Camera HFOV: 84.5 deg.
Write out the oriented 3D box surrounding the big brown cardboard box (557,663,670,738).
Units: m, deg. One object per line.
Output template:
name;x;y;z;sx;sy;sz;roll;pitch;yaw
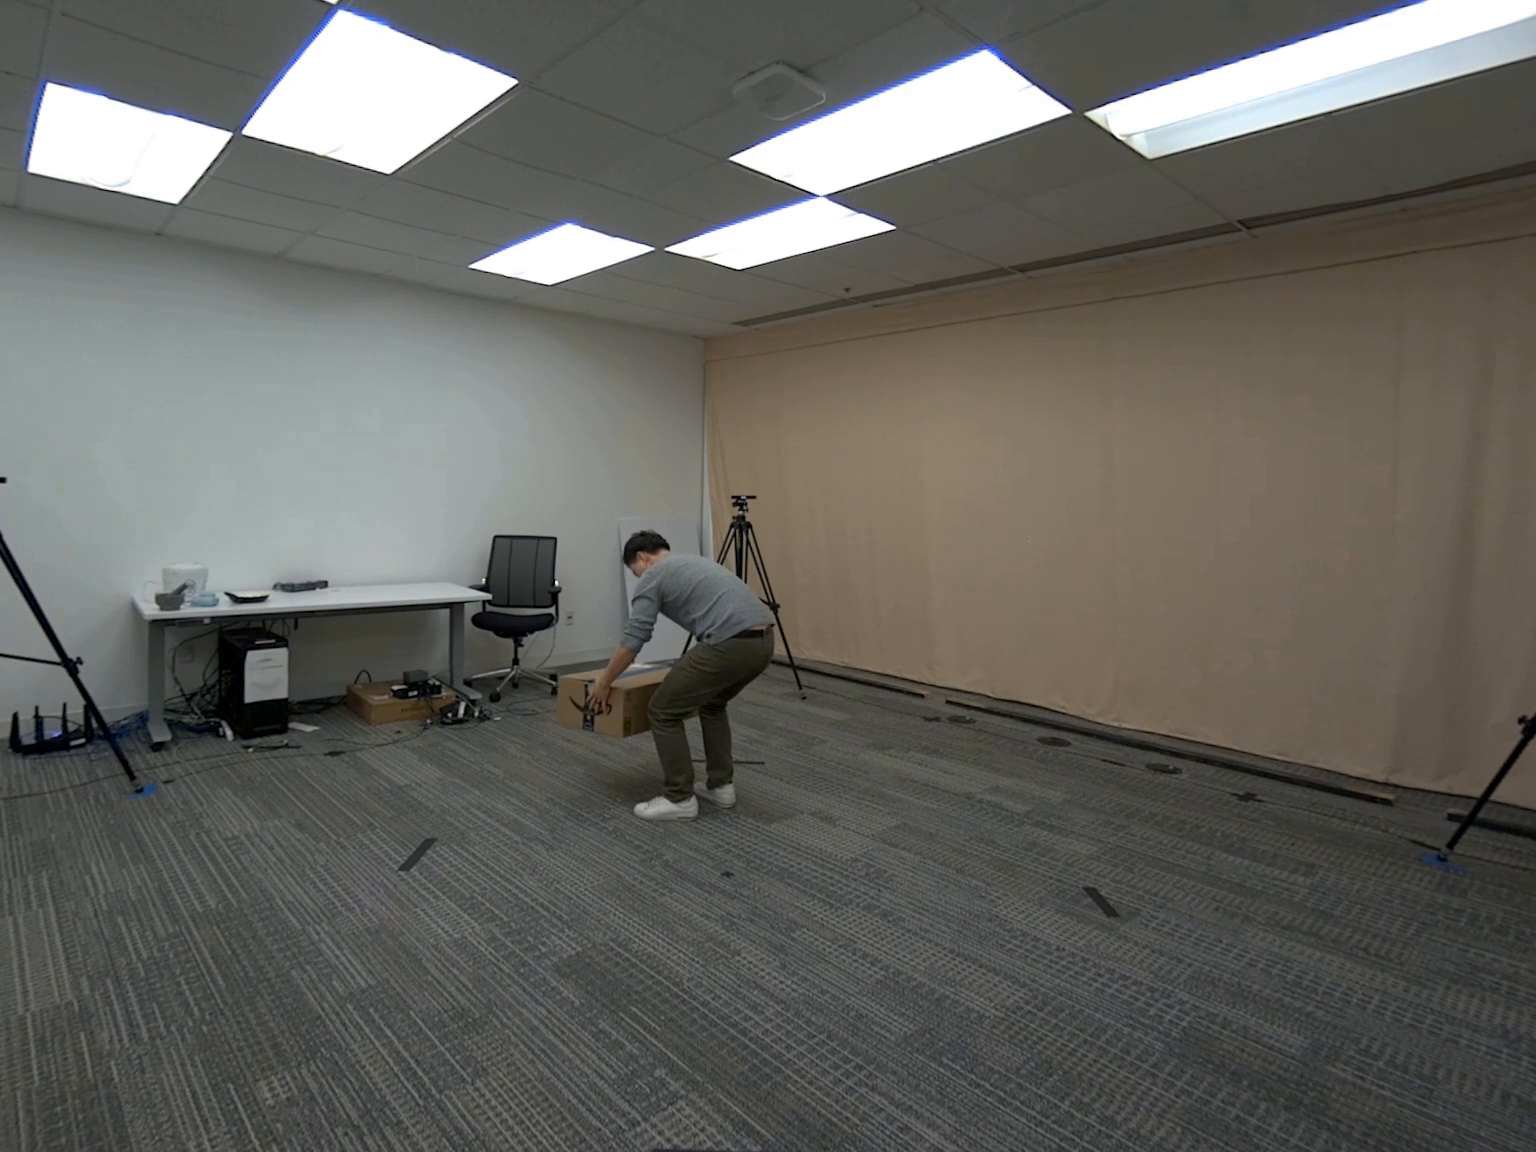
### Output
big brown cardboard box;-0.643;0.565;3.977;0.427;0.232;0.577;3;5;33
